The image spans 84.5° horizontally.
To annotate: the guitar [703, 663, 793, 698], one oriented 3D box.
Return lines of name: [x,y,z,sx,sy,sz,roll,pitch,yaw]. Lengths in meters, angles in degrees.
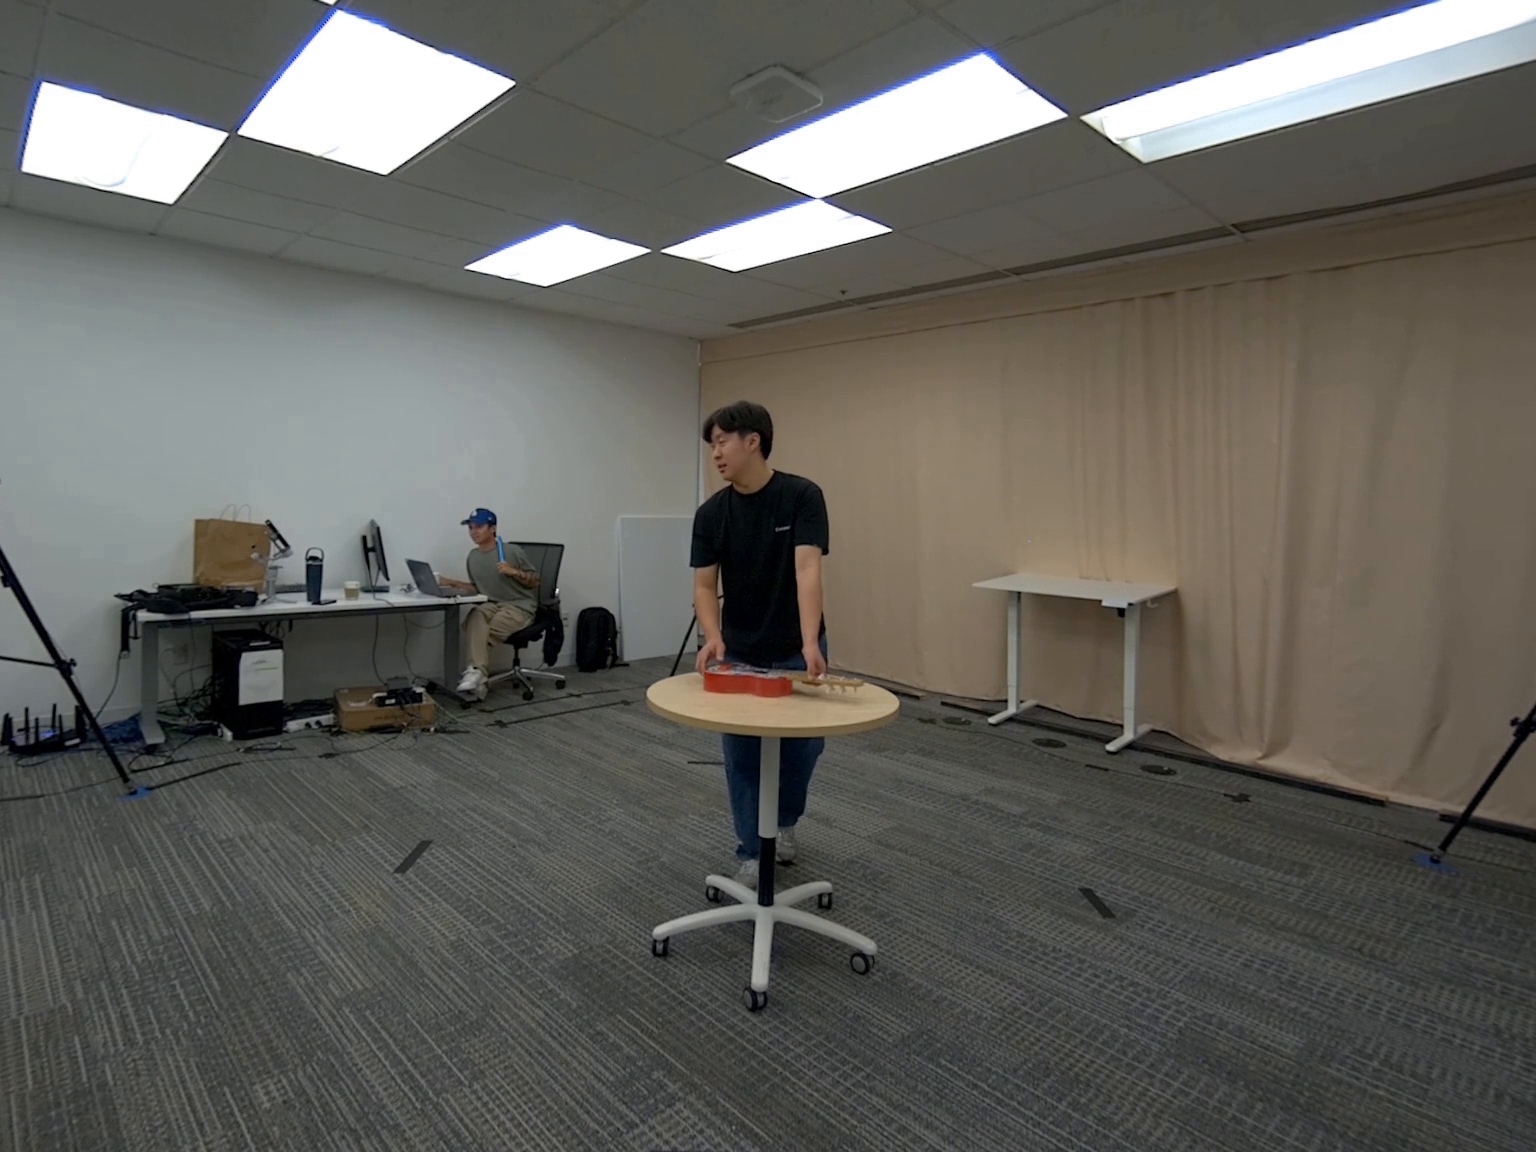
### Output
guitar: [0.037,0.336,2.555,0.509,0.070,0.189,3,5,30]
